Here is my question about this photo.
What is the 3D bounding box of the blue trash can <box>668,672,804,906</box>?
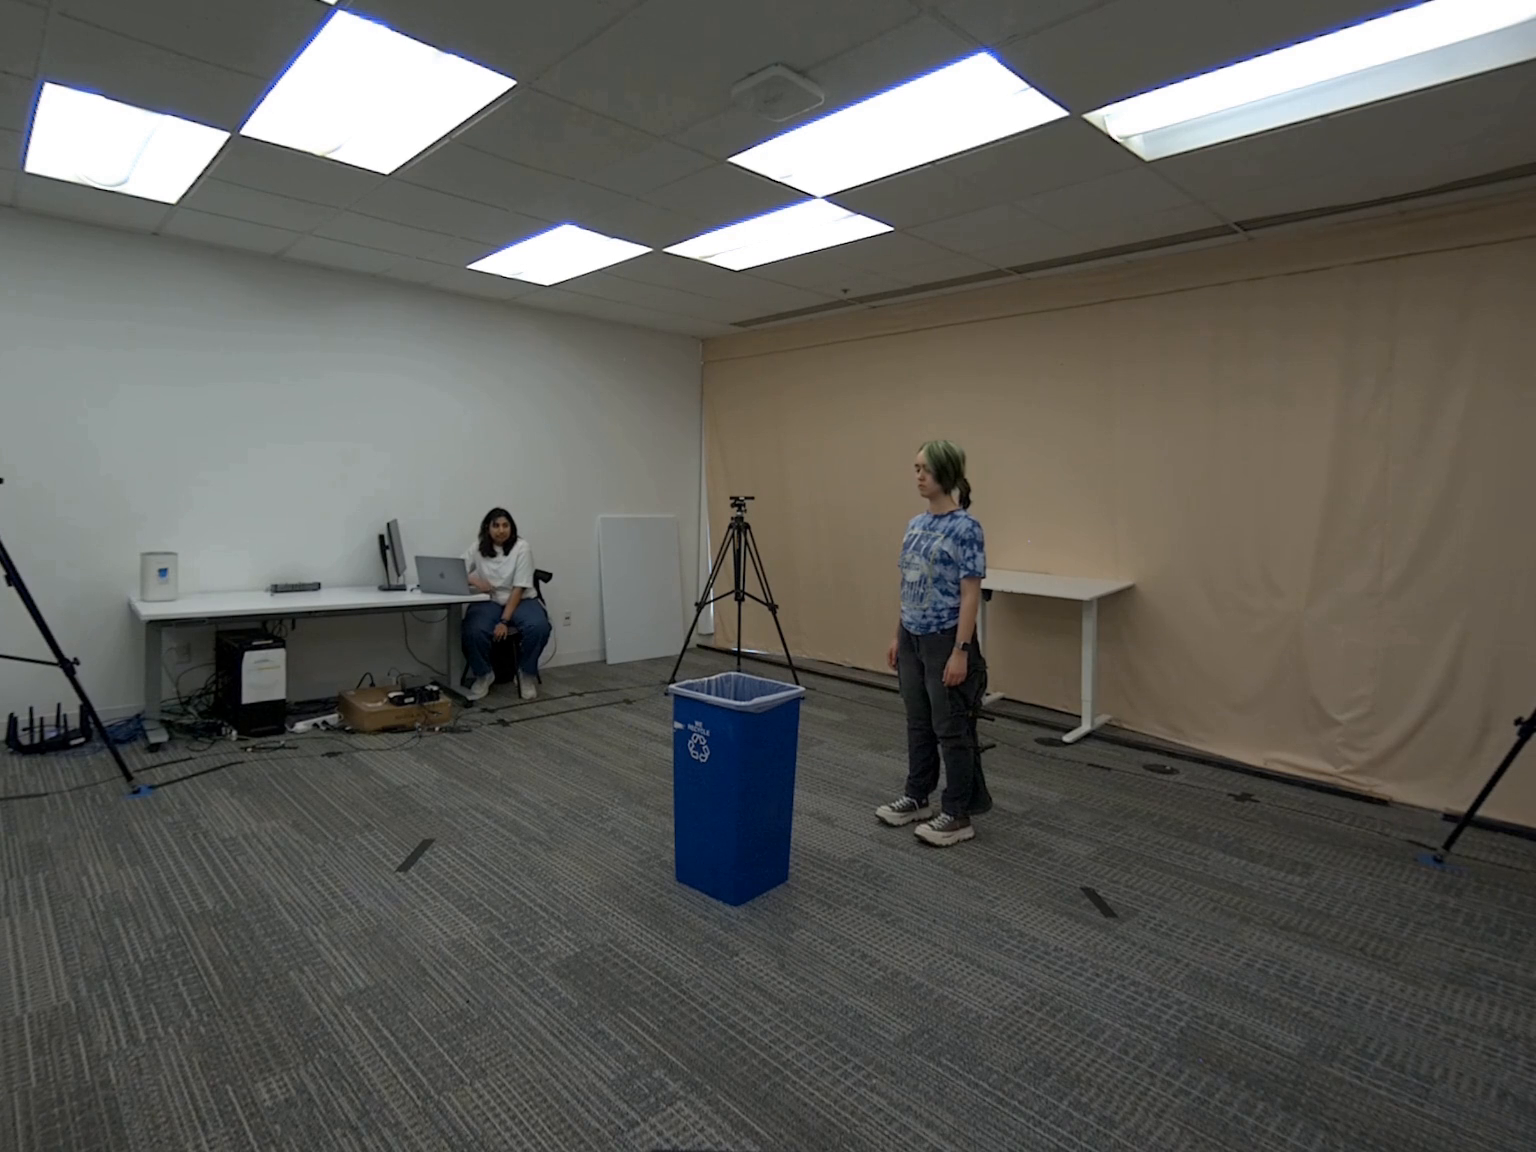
[{"bbox_3d":[-0.121,0.752,3.044,0.383,0.712,0.369,4,5,40],"label":"blue trash can"}]
